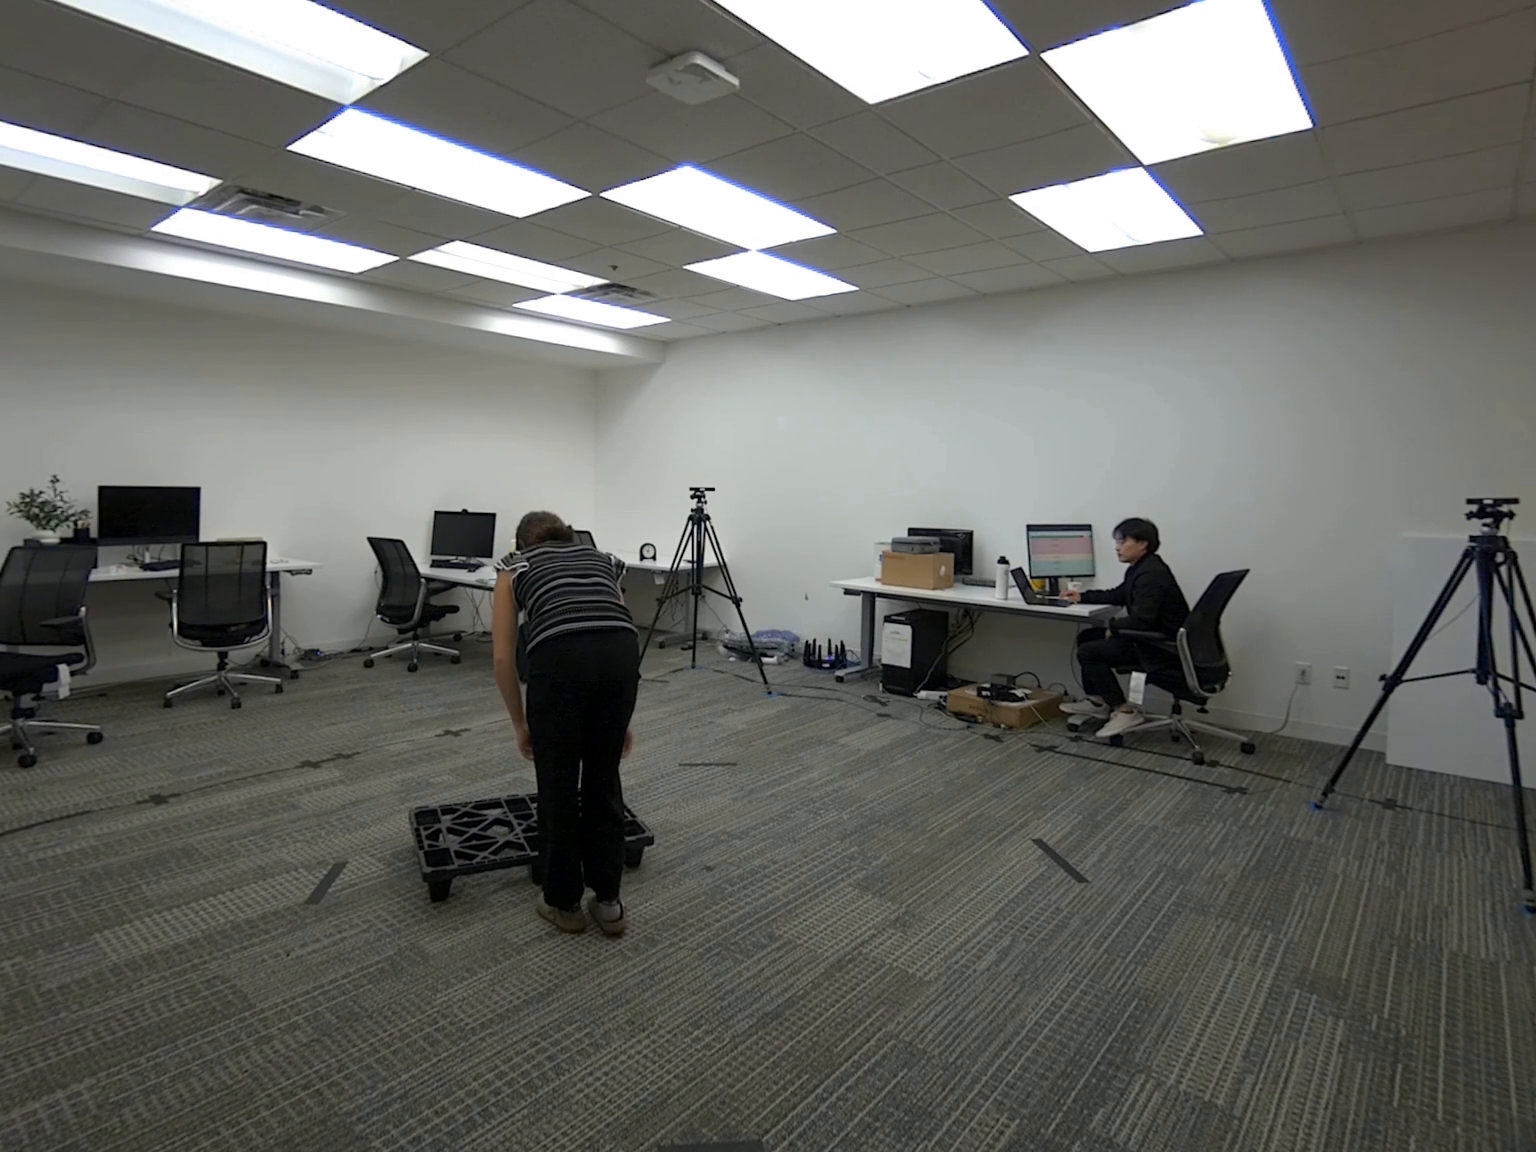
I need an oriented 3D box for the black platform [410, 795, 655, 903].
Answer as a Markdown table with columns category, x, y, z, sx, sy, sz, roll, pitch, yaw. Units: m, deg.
| category | x | y | z | sx | sy | sz | roll | pitch | yaw |
| --- | --- | --- | --- | --- | --- | --- | --- | --- | --- |
| black platform | -0.908 | 0.986 | 3.172 | 0.786 | 0.142 | 0.623 | -2 | 7 | -26 |
